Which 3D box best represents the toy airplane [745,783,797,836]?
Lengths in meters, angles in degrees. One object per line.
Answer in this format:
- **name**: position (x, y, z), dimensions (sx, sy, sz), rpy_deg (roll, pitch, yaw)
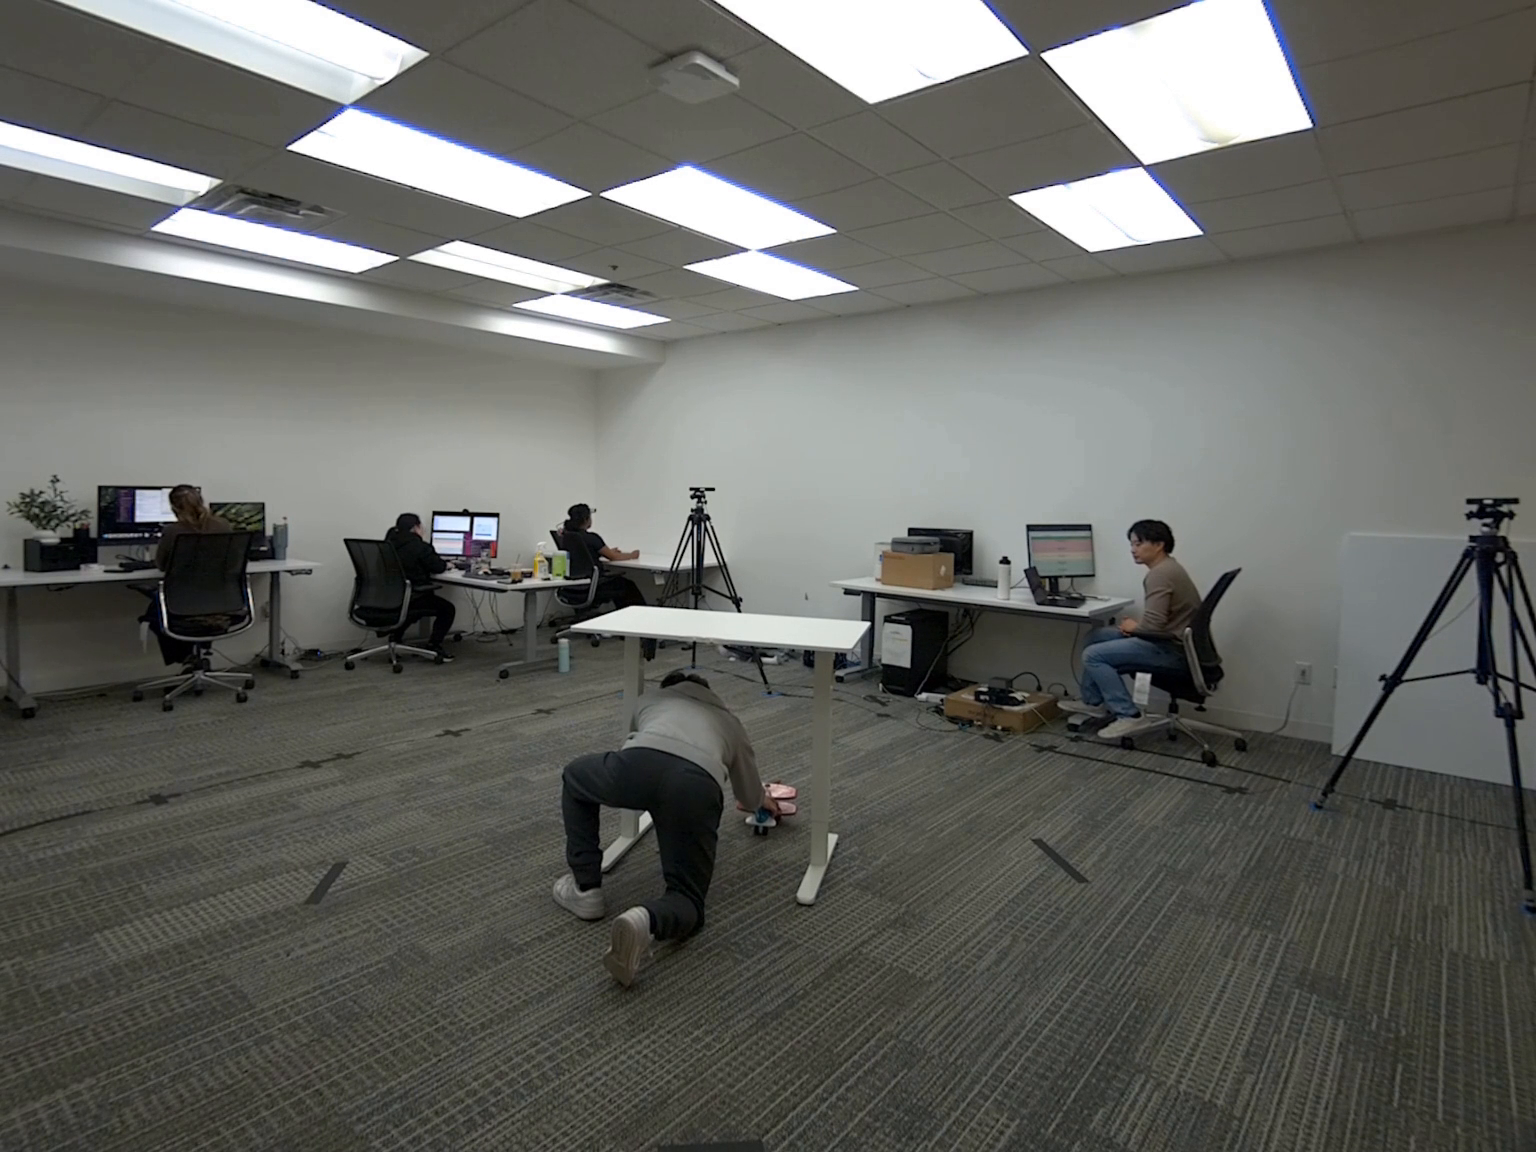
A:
- **toy airplane**: position (-0.002, 0.956, 3.519), dimensions (0.246, 0.156, 0.265), rpy_deg (0, 4, -18)
